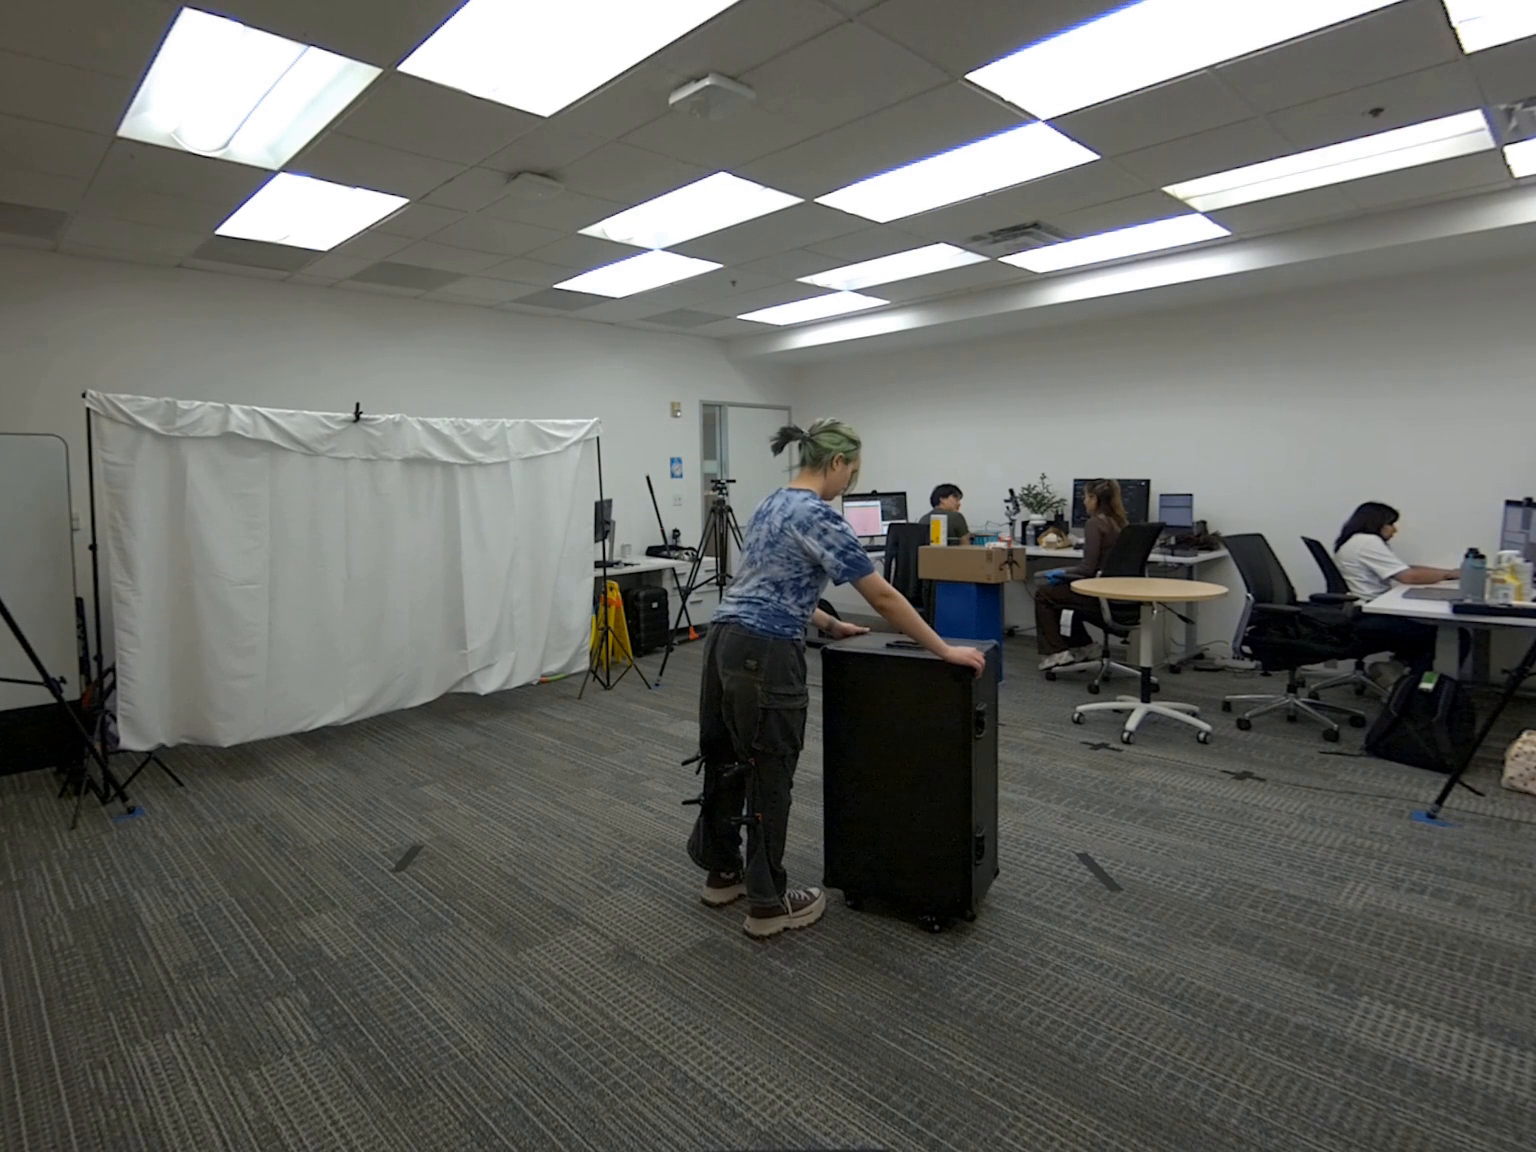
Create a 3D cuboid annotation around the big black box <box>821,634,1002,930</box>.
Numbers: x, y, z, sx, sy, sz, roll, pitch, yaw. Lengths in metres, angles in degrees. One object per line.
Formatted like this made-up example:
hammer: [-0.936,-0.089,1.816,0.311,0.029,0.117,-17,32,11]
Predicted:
big black box: [0.467,0.651,2.803,0.535,0.859,0.387,1,3,30]
